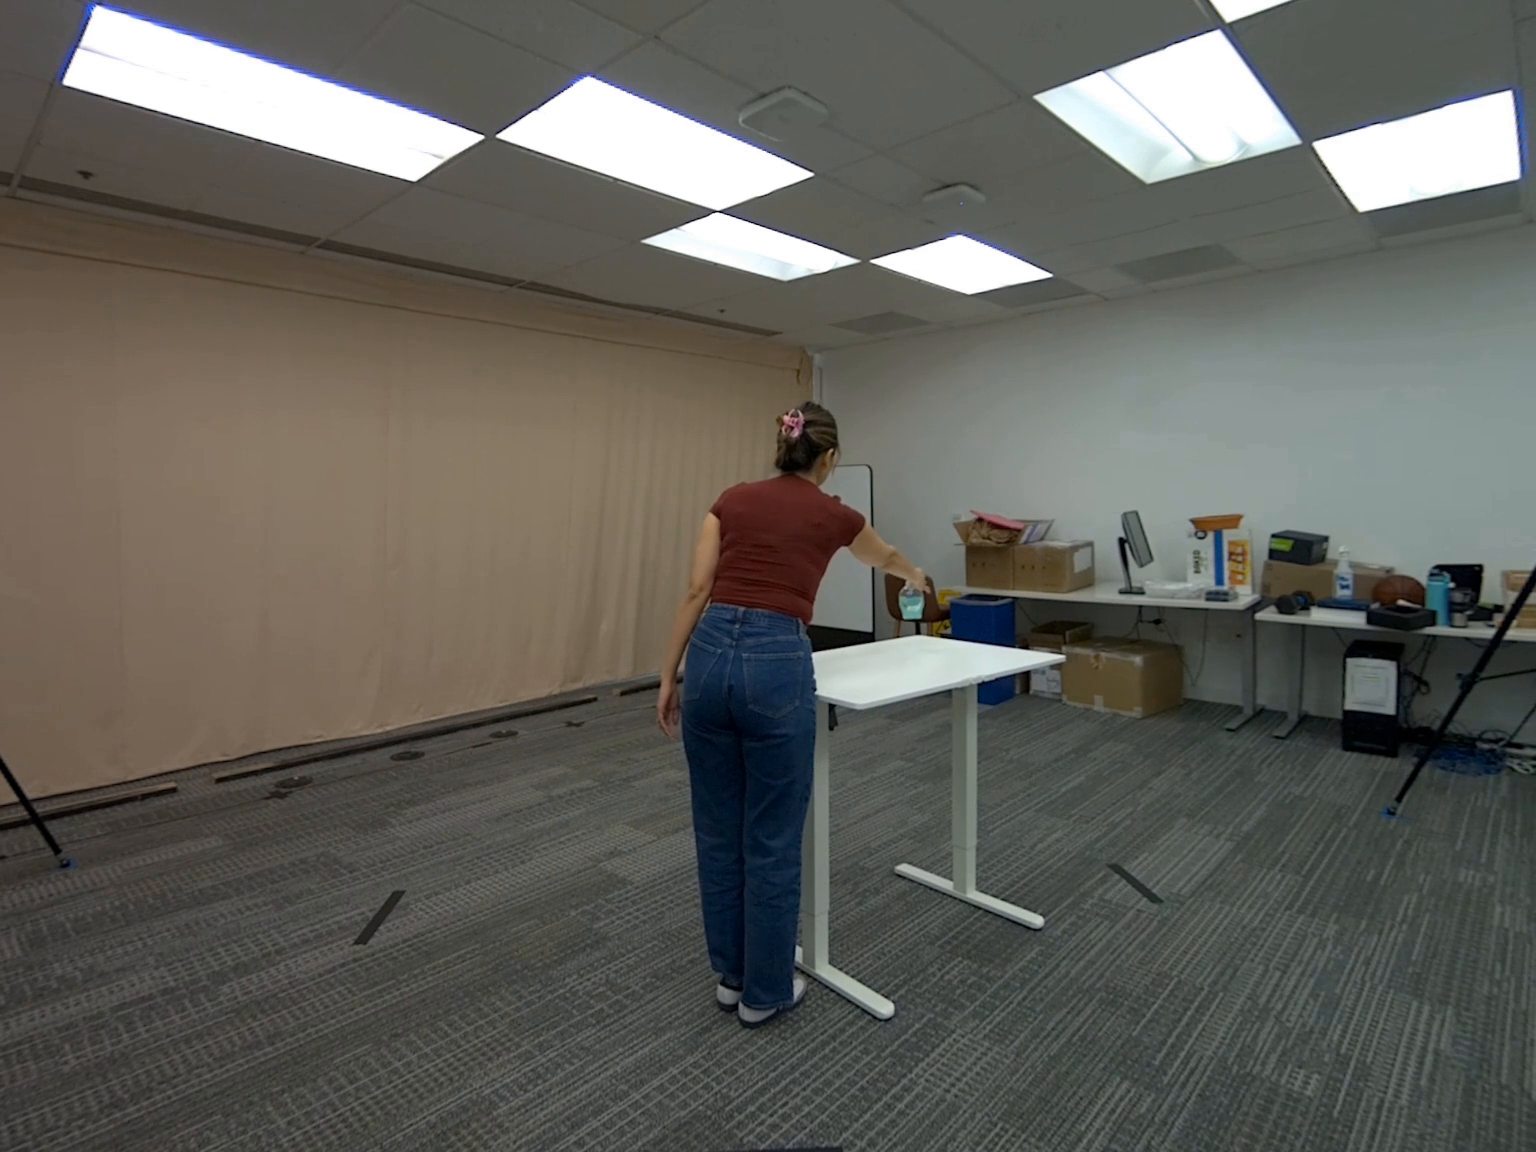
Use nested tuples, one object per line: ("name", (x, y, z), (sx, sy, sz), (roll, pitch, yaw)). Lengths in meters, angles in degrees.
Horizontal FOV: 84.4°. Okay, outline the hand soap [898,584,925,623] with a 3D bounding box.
("hand soap", (0.498, 0.063, 2.896), (0.084, 0.168, 0.043), (-3, 4, -3))
